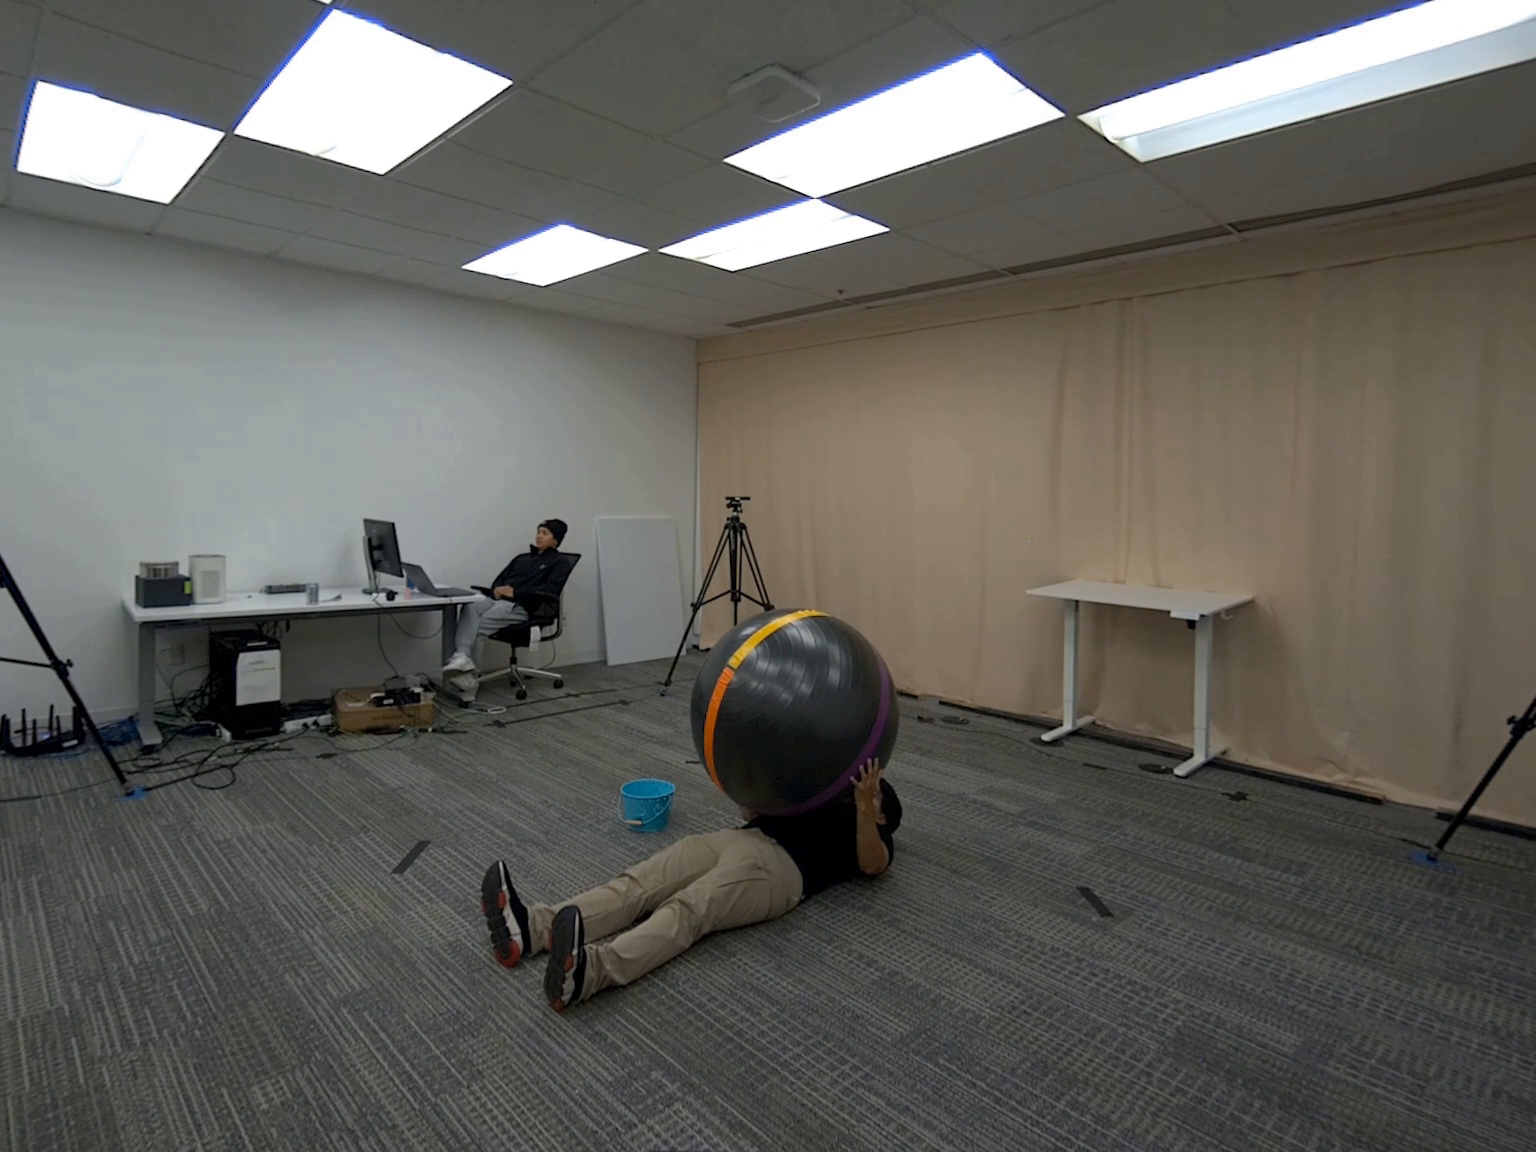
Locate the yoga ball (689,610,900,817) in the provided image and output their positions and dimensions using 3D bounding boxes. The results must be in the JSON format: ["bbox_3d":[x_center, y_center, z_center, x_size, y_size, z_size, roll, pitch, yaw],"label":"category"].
[{"bbox_3d":[0.085,0.498,3.070,0.757,0.755,0.761,1,5,-1],"label":"yoga ball"}]
